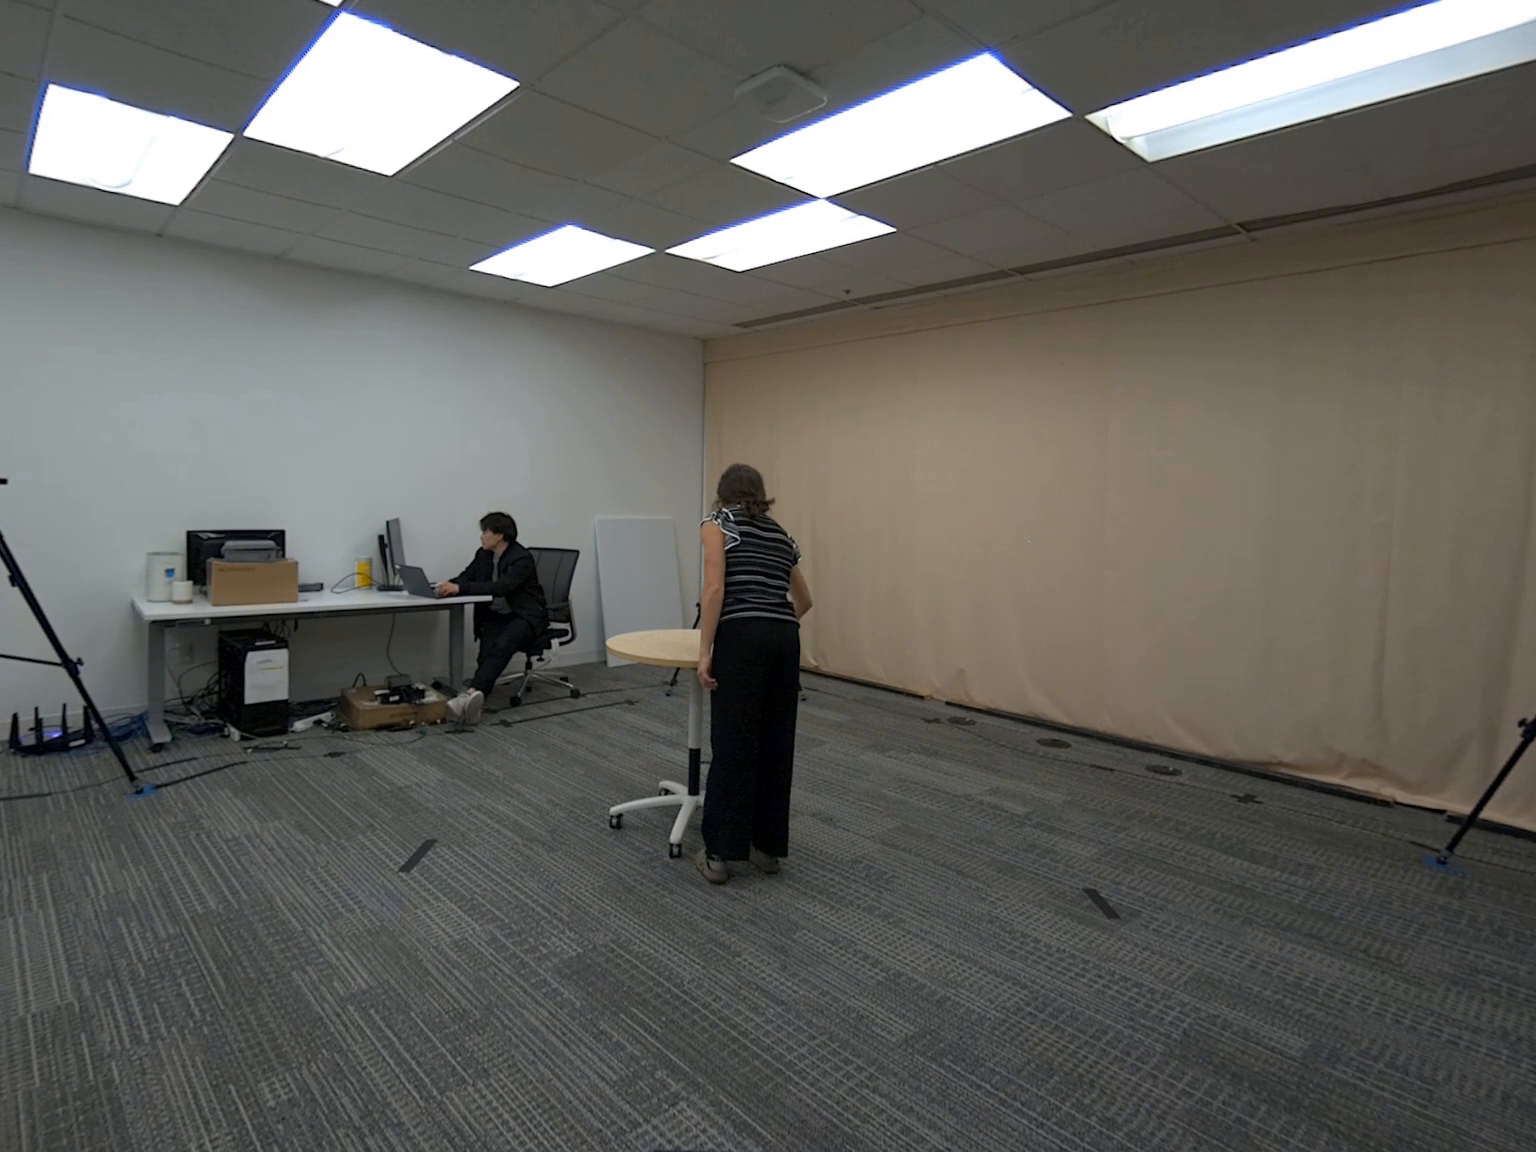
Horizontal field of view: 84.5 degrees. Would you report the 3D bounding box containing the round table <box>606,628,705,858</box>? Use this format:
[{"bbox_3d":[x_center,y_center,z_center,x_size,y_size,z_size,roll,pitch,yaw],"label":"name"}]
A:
[{"bbox_3d":[-0.320,0.677,3.549,0.763,0.792,0.766,2,4,-2],"label":"round table"}]
